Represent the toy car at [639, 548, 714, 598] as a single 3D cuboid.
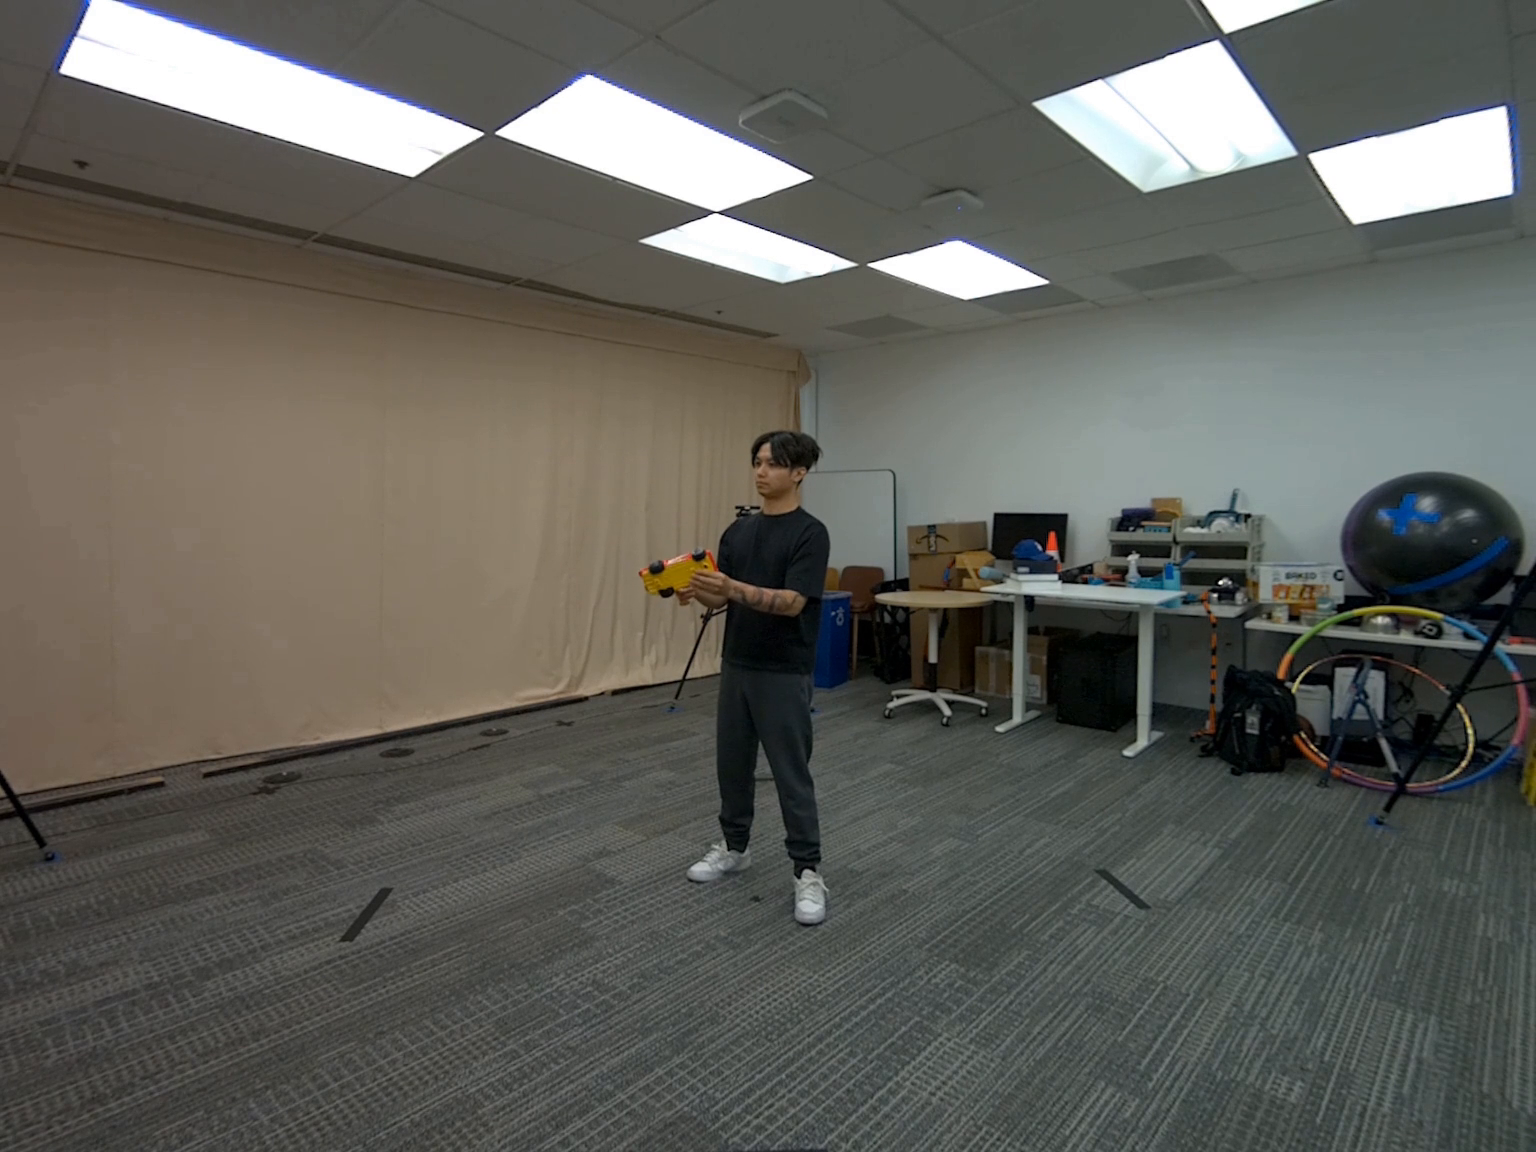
[{"bbox_3d":[-0.288,-0.007,2.680,0.259,0.127,0.083,-13,26,23],"label":"toy car"}]
